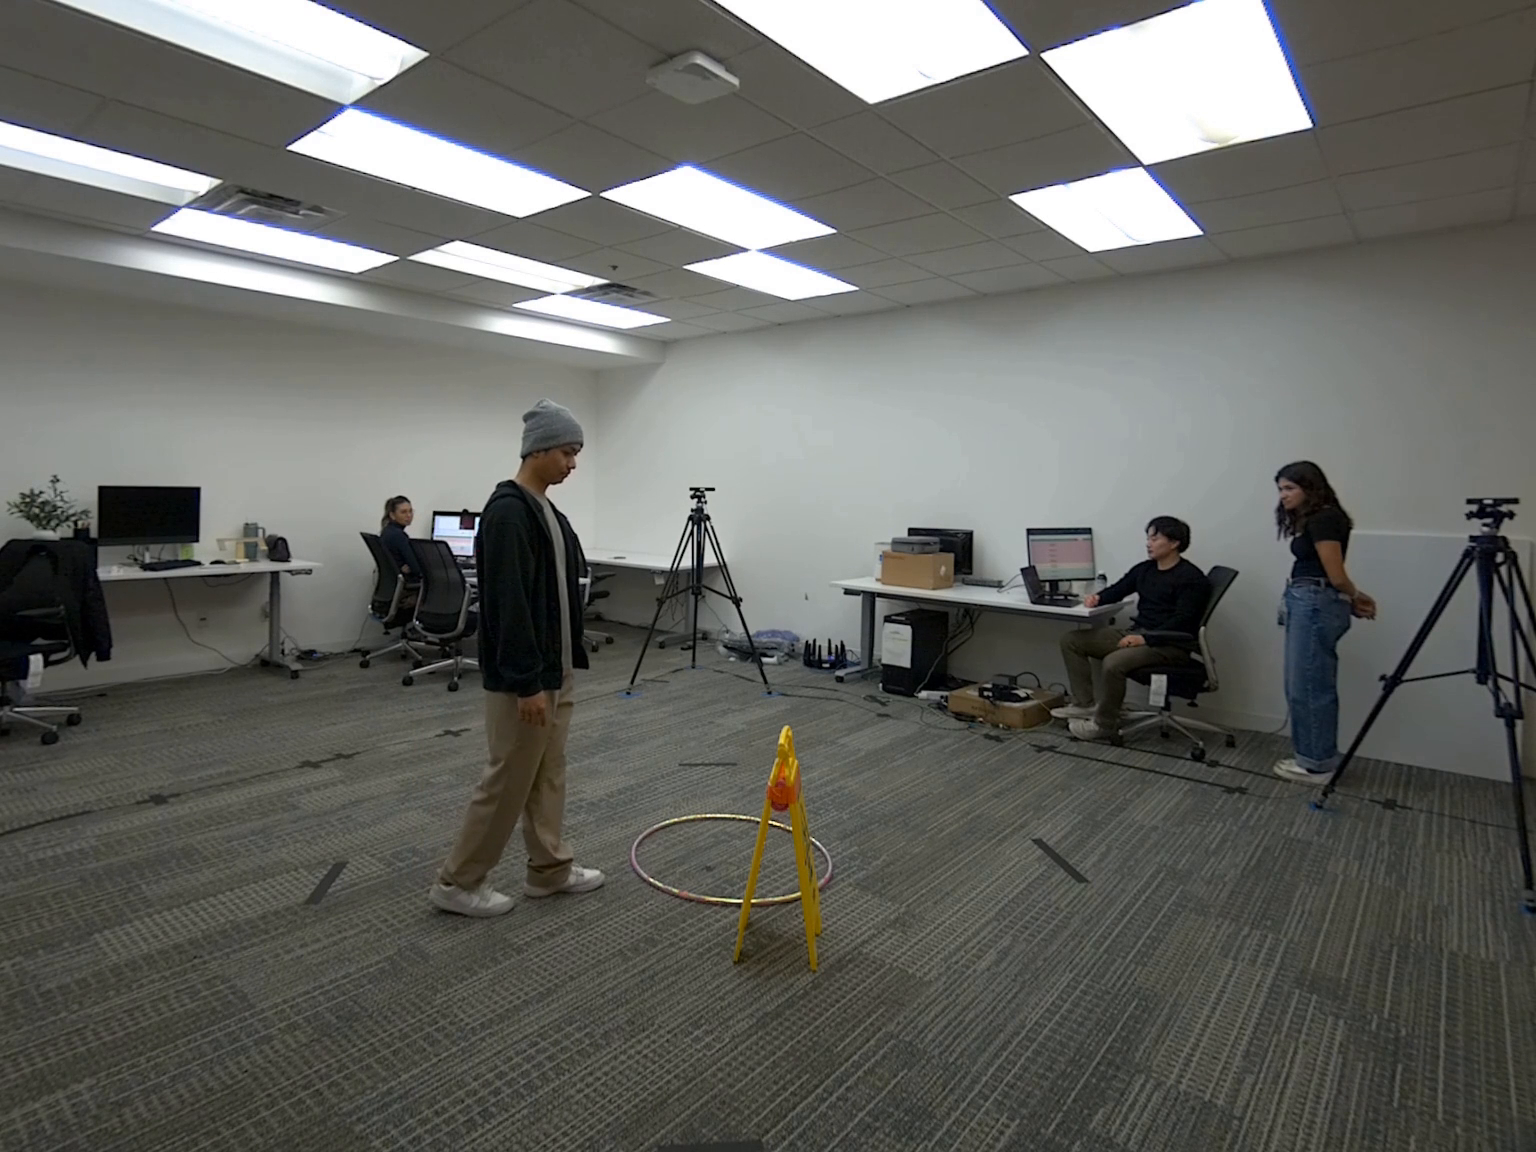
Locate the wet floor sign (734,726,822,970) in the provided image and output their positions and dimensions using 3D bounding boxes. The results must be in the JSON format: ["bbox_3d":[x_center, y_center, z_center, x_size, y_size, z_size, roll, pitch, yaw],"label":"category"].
[{"bbox_3d":[0.035,0.803,2.588,0.292,0.645,0.280,2,2,7],"label":"wet floor sign"}]
